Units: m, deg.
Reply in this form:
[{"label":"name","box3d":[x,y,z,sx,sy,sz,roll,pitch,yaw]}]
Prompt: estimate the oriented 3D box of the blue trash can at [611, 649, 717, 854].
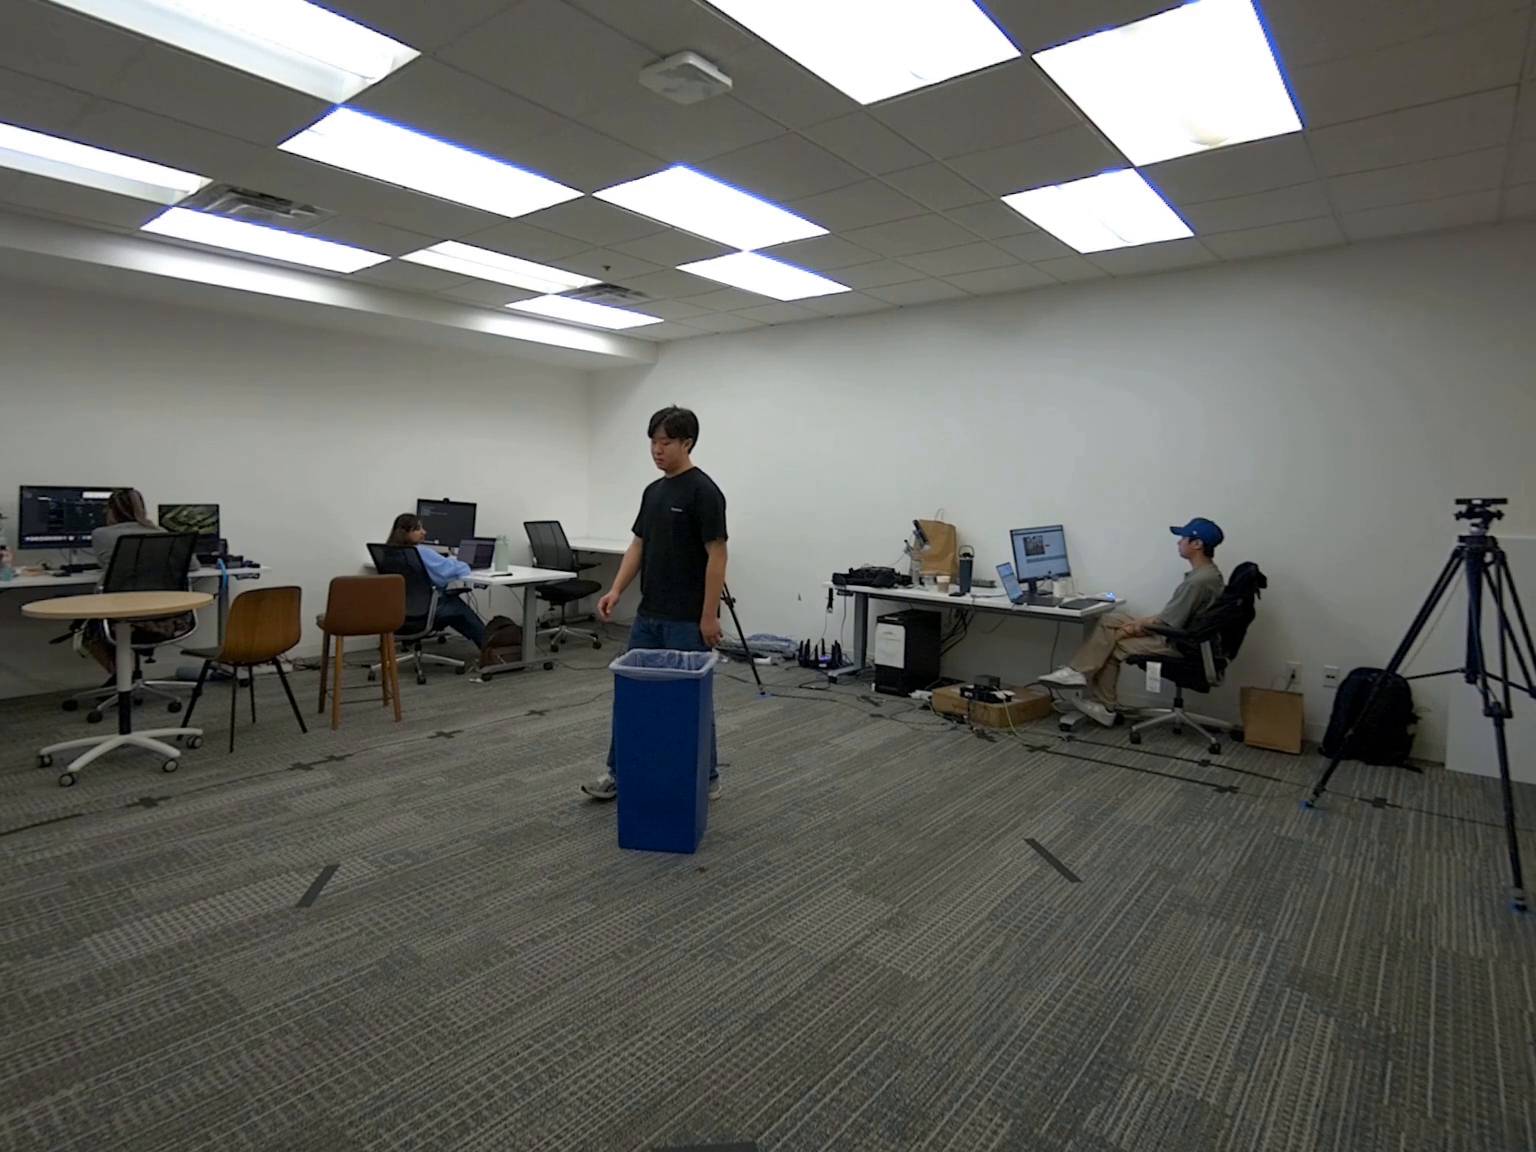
[{"label":"blue trash can","box3d":[-0.425,0.678,3.392,0.381,0.710,0.372,2,5,7]}]
